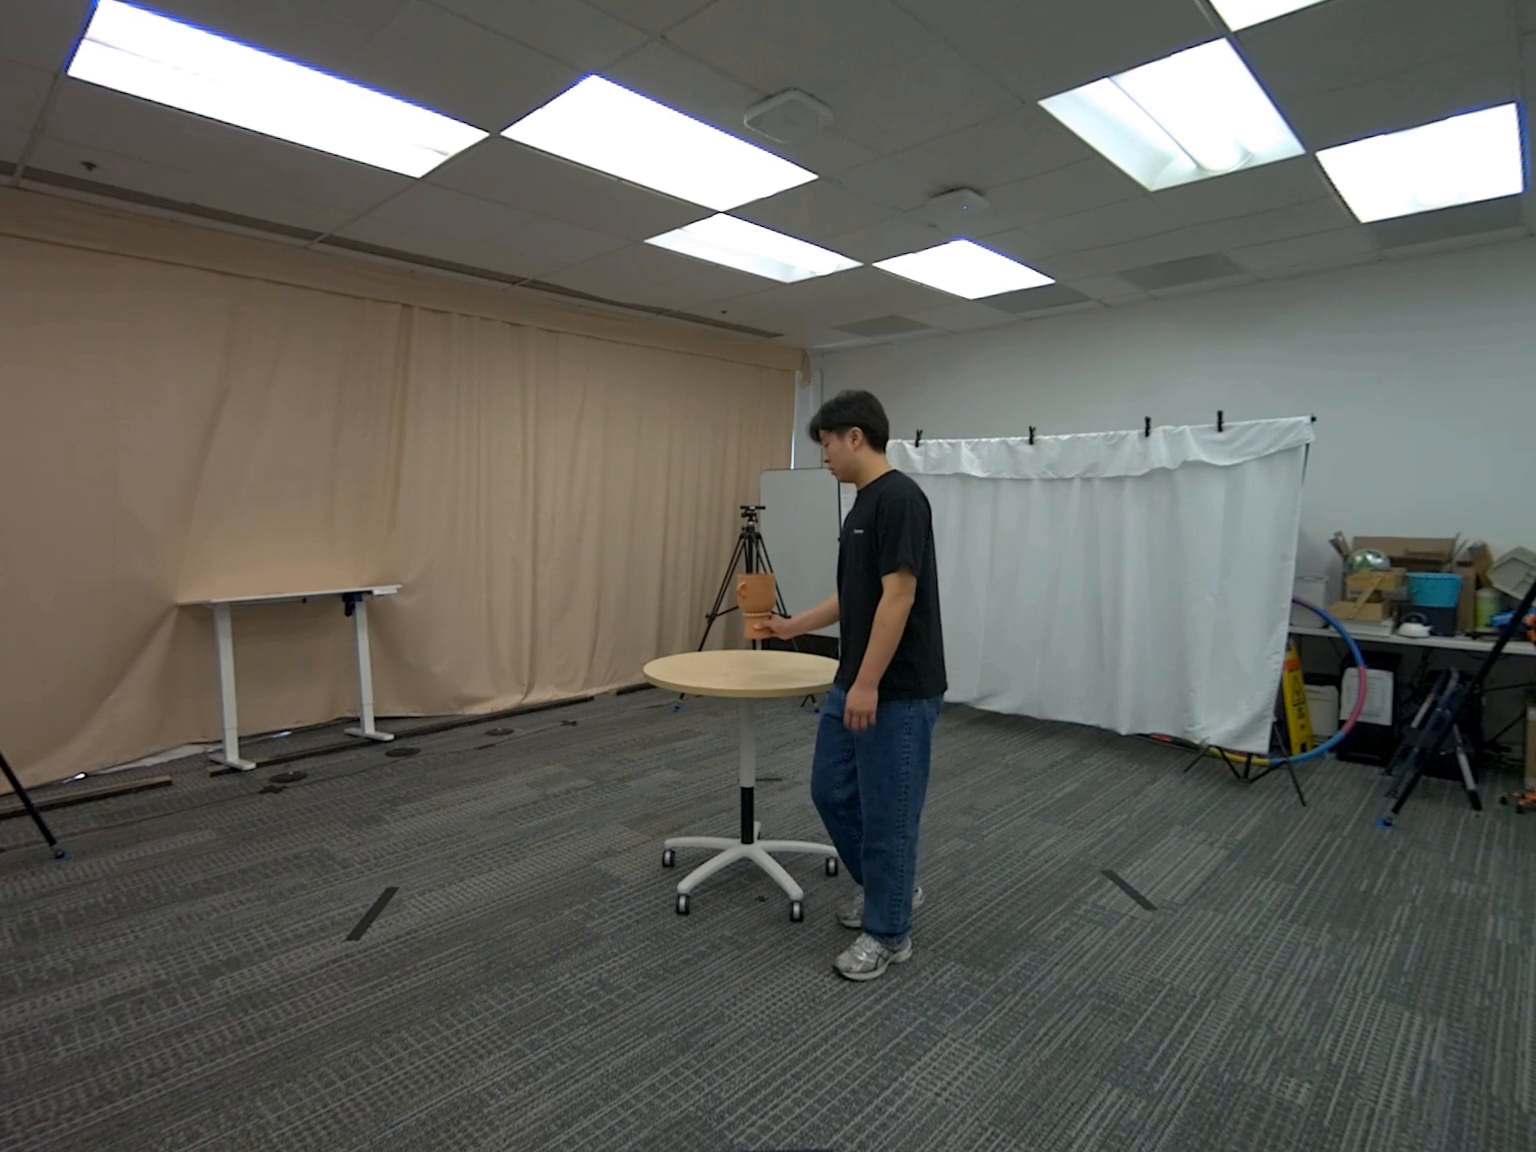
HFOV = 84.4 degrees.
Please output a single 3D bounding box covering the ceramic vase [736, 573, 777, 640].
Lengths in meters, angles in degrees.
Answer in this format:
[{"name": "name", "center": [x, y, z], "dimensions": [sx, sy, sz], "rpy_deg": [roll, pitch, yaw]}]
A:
[{"name": "ceramic vase", "center": [-0.036, 0.109, 2.951], "dimensions": [0.157, 0.220, 0.136], "rpy_deg": [-3, 0, -9]}]
